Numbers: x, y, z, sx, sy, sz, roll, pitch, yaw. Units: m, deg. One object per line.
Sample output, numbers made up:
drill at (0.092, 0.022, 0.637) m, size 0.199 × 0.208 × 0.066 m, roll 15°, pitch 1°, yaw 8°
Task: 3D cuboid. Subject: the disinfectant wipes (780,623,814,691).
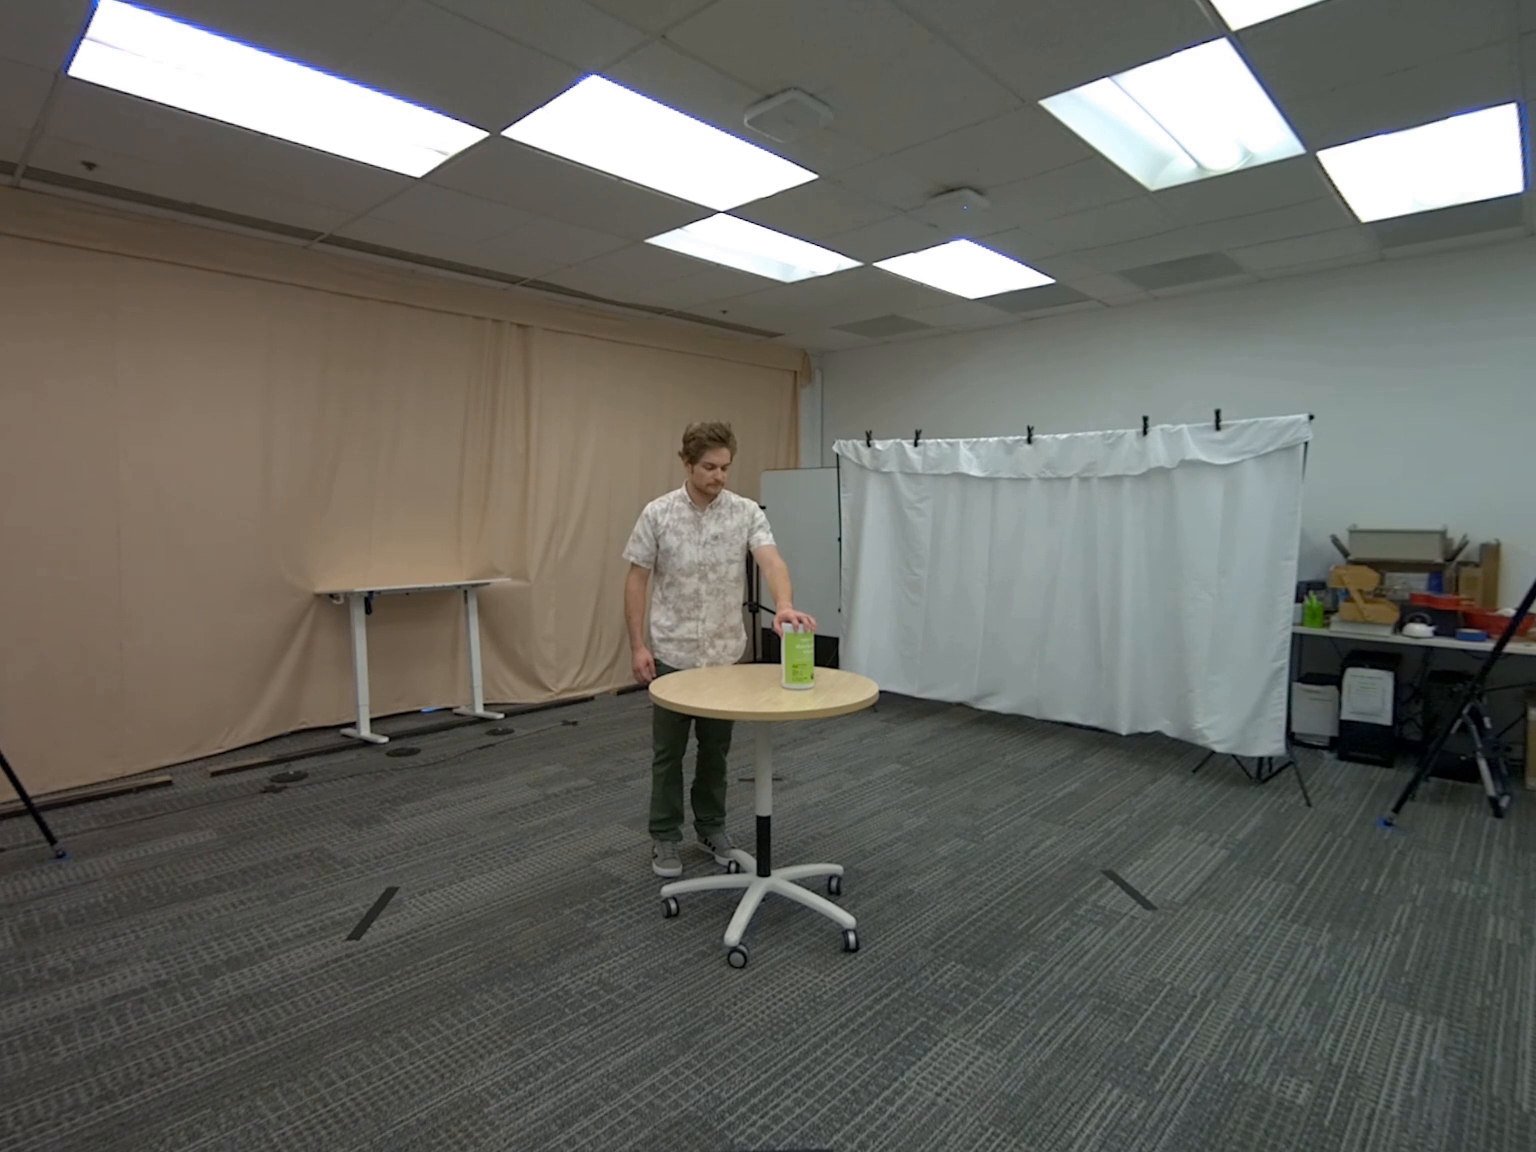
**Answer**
disinfectant wipes at (0.100, 0.264, 2.786) m, size 0.118 × 0.217 × 0.118 m, roll 1°, pitch 3°, yaw -2°
